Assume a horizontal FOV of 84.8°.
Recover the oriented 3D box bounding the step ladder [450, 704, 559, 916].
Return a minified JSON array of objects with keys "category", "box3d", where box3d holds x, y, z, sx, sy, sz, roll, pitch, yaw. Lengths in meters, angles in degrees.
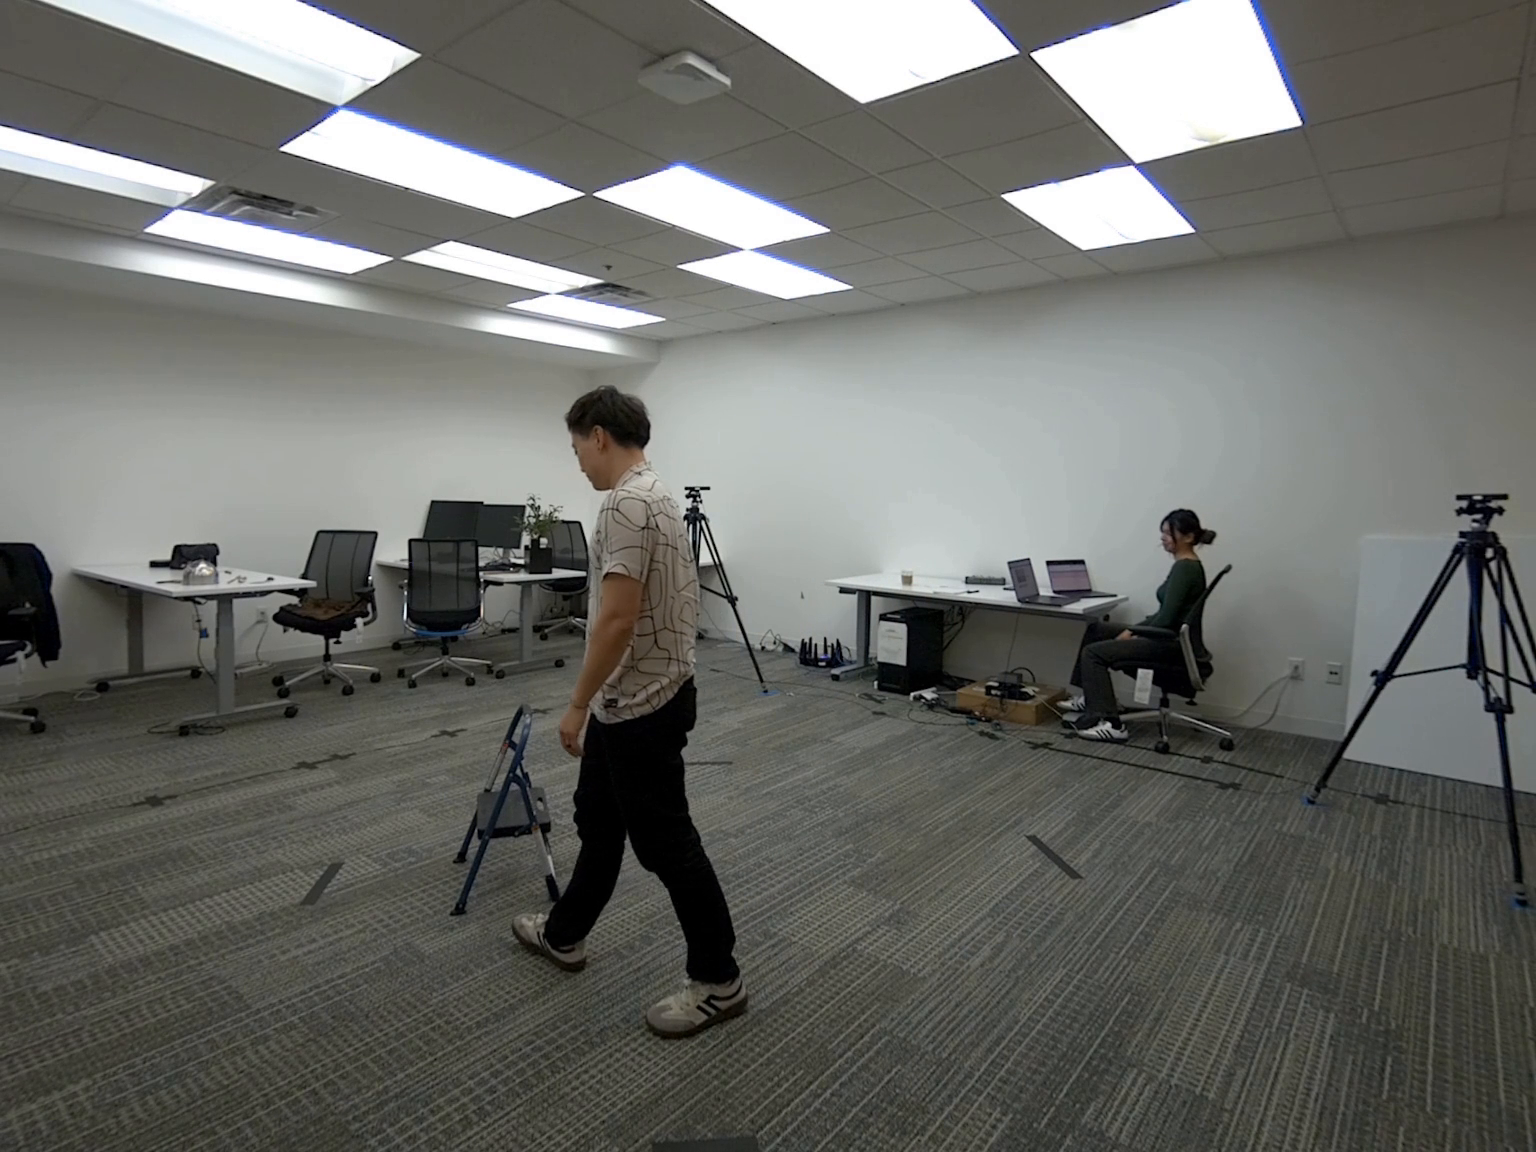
[{"category":"step ladder","box3d":[-0.933,0.769,2.969,0.343,0.604,0.440,0,4,-19]}]
